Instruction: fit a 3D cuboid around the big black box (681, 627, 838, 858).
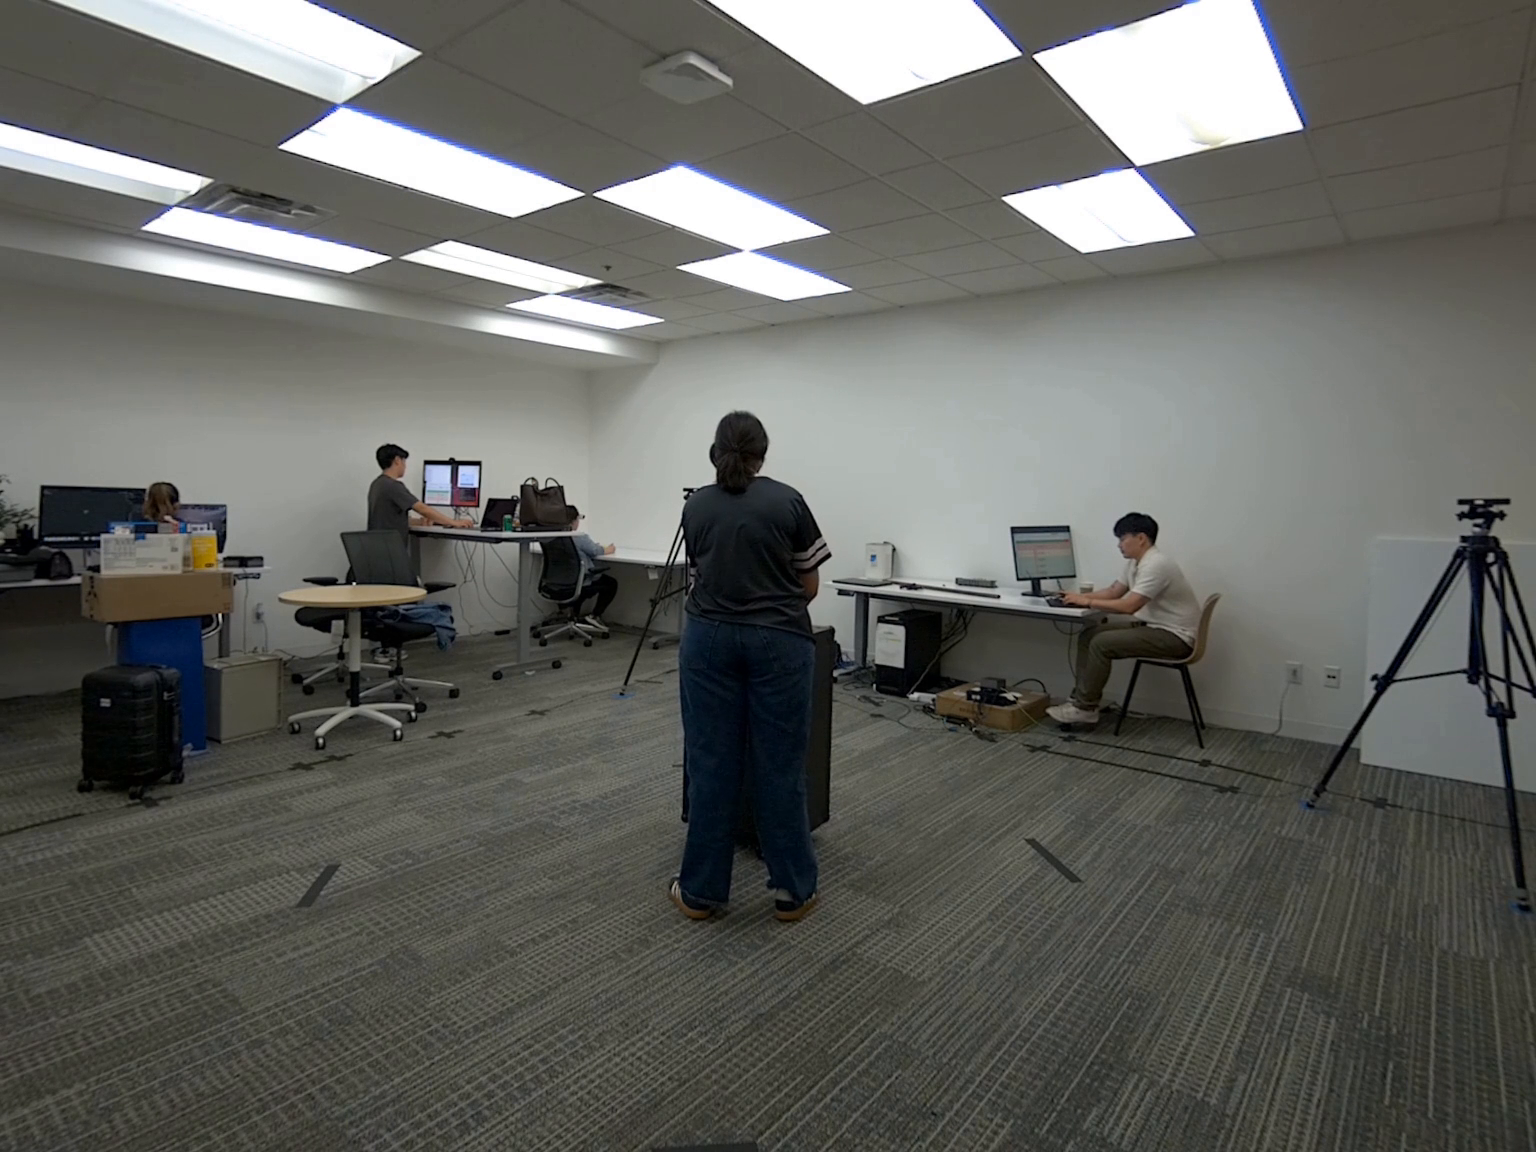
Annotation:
[{"bbox_3d":[-0.053,0.622,3.388,0.539,0.866,0.375,3,3,30],"label":"big black box"}]
